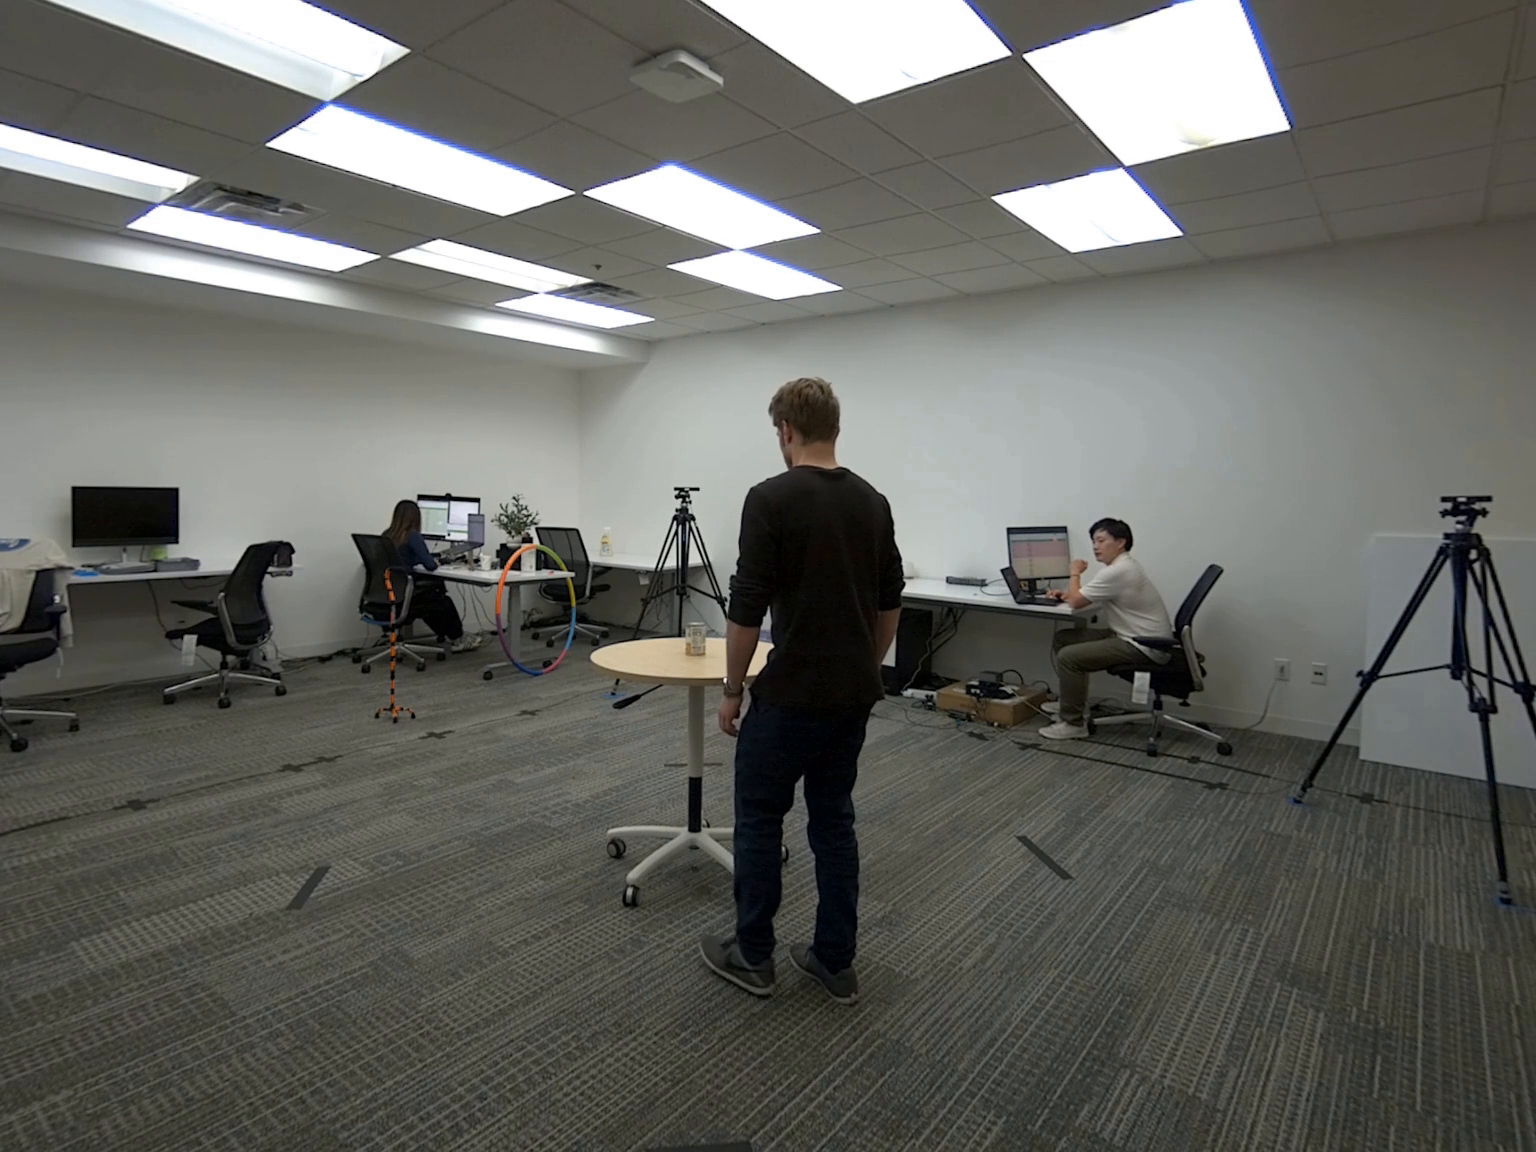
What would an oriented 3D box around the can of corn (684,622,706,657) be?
[{"bbox_3d":[-0.271,0.227,3.097,0.074,0.111,0.074,3,3,-2],"label":"can of corn"}]
